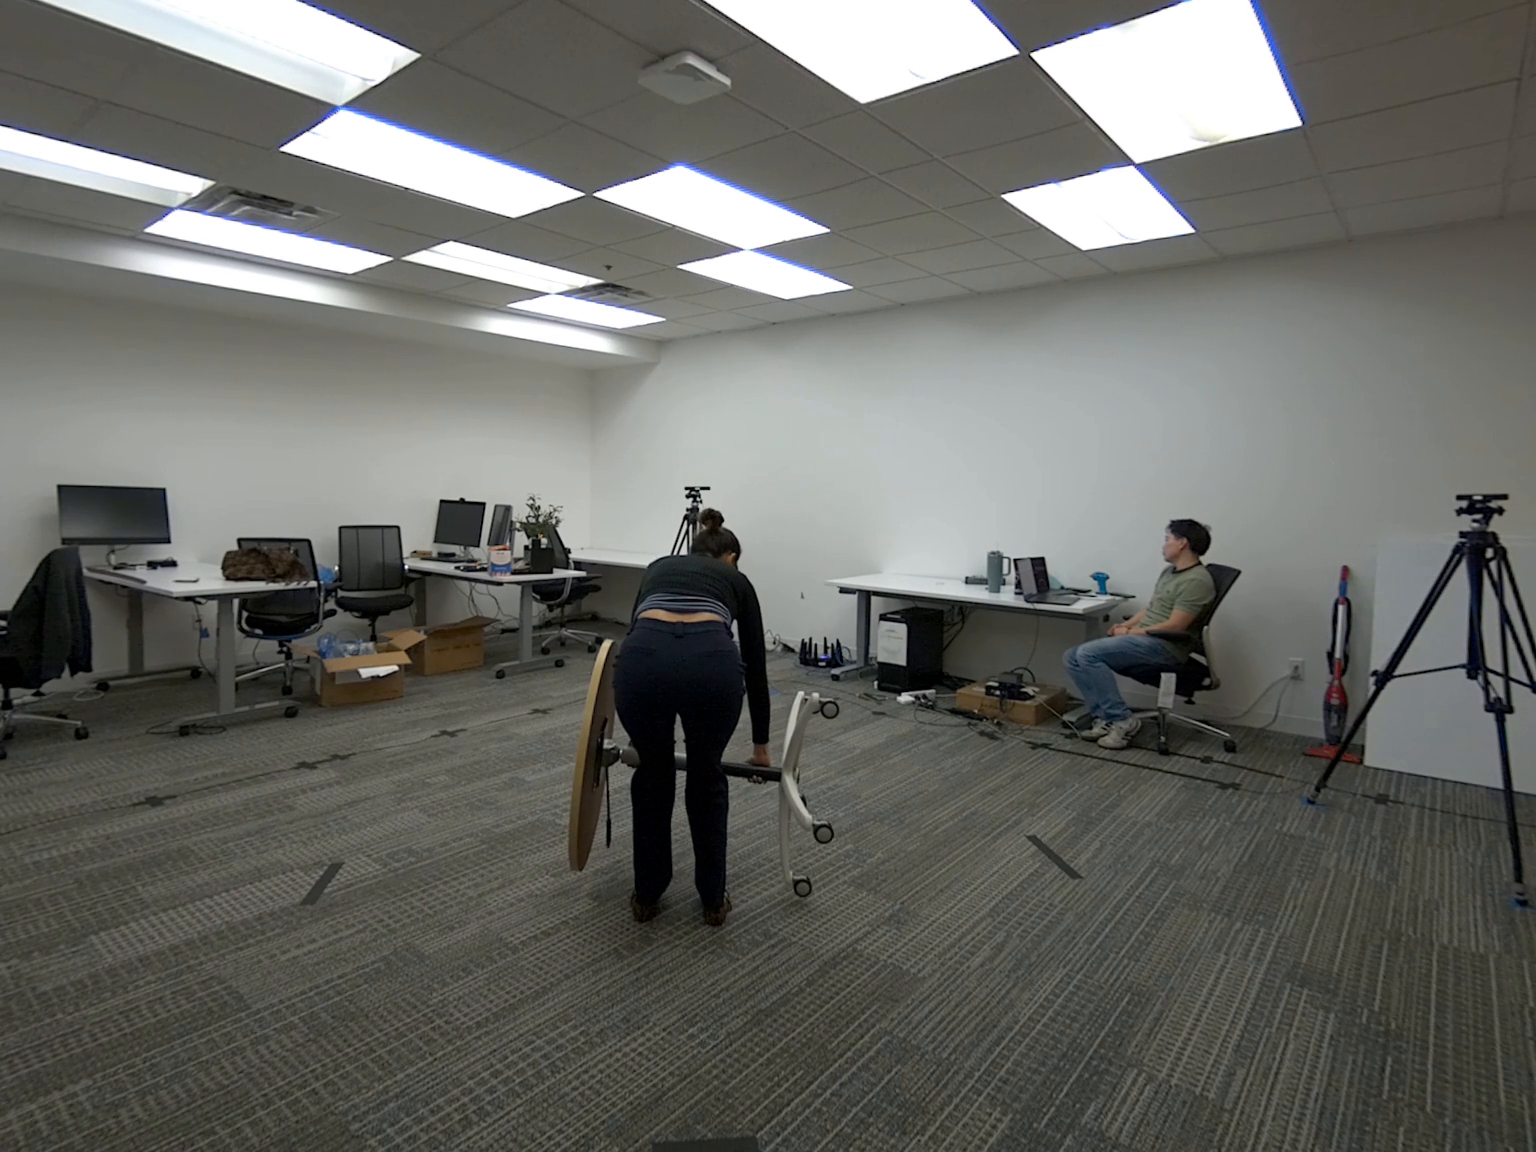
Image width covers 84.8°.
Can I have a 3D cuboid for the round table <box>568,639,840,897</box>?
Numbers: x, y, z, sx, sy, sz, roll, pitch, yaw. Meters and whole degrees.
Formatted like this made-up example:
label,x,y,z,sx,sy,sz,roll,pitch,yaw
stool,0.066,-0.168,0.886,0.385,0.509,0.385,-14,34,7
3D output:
label,x,y,z,sx,sy,sz,roll,pitch,yaw
round table,-0.215,0.646,2.920,0.793,0.762,0.768,7,4,-3
